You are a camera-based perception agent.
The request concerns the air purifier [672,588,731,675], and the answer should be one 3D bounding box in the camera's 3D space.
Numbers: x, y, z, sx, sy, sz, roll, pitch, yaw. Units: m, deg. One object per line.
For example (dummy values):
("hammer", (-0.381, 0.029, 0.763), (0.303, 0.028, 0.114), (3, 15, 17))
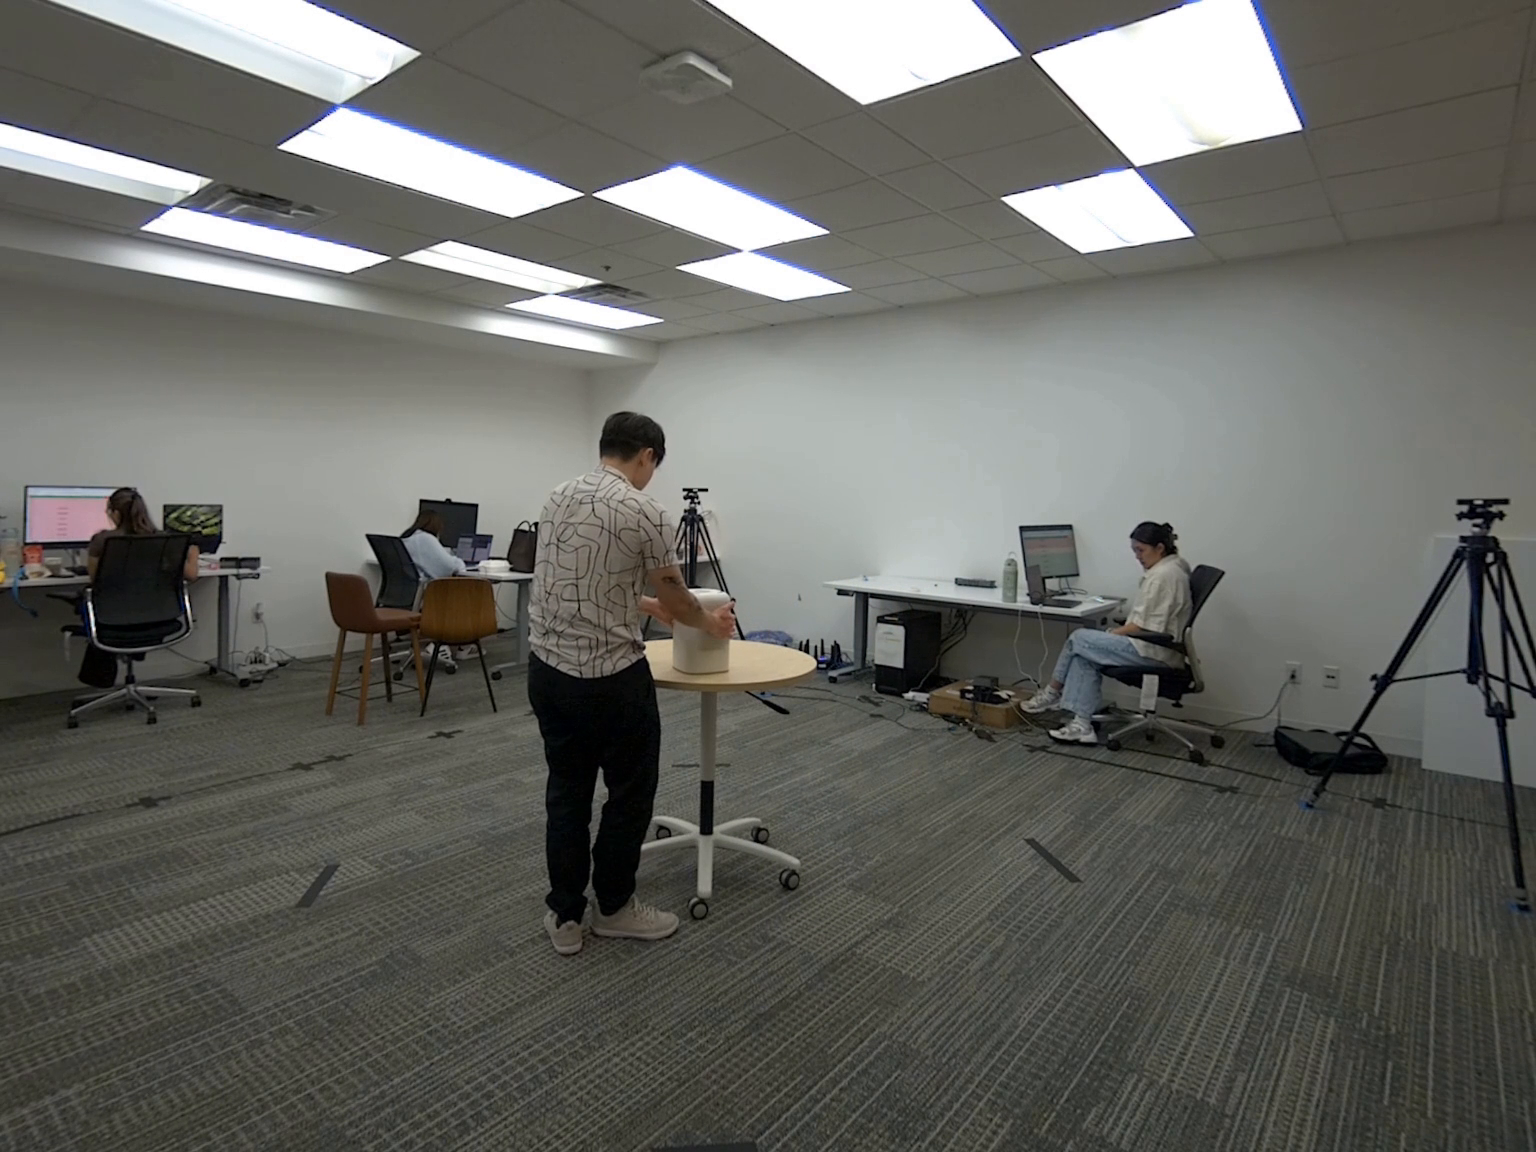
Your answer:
("air purifier", (-0.232, 0.180, 2.882), (0.167, 0.264, 0.176), (-2, 6, -25))
